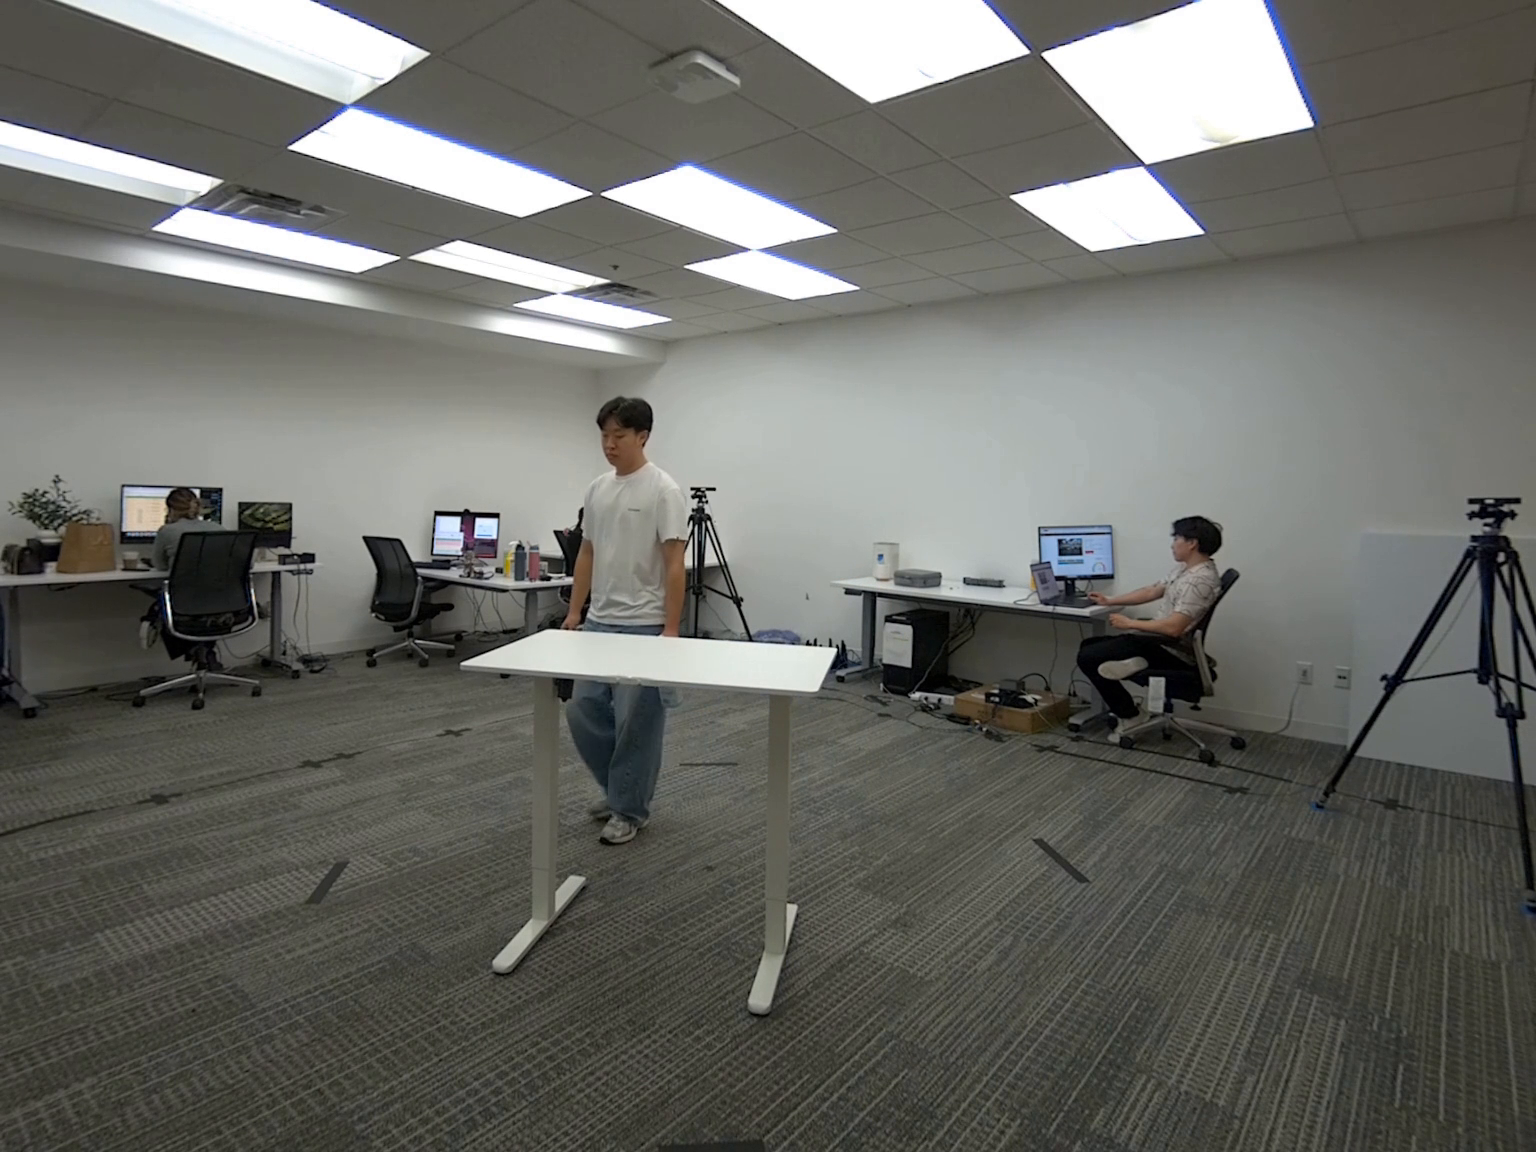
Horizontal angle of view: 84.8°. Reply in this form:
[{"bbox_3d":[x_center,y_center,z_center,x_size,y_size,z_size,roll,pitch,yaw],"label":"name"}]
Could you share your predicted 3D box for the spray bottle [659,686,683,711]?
[{"bbox_3d":[-0.393,0.352,3.237,0.087,0.291,0.092,-3,22,2],"label":"spray bottle"}]
